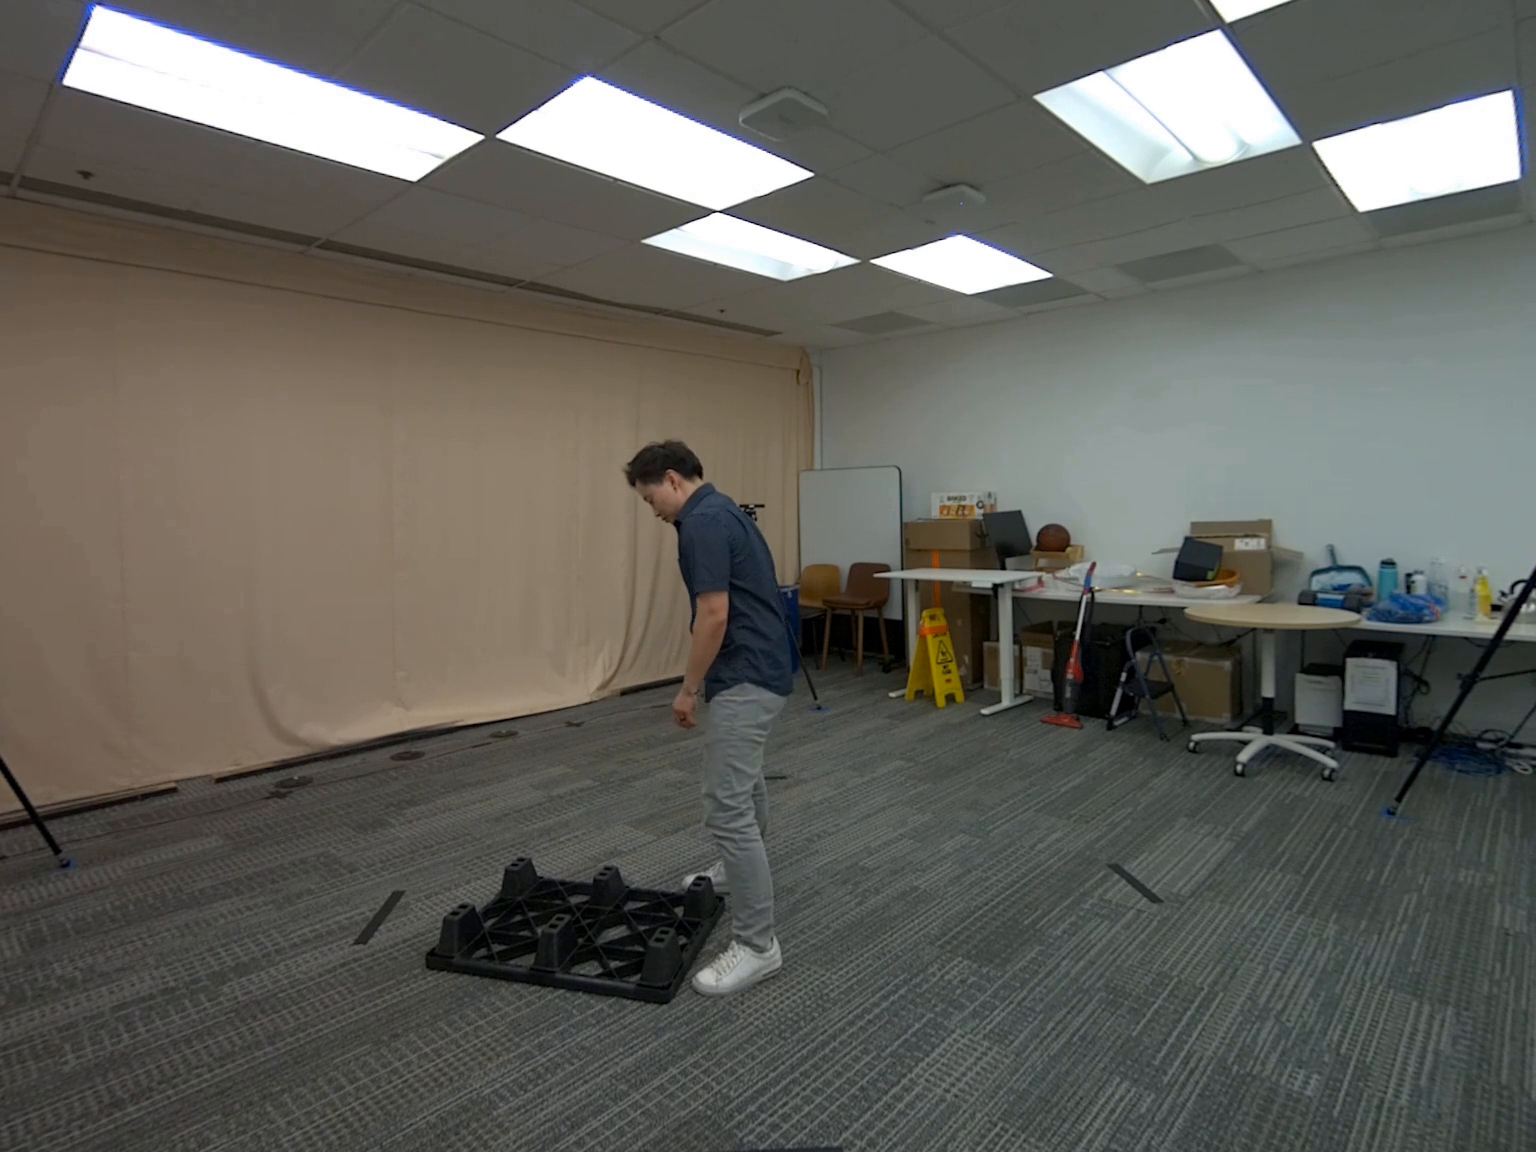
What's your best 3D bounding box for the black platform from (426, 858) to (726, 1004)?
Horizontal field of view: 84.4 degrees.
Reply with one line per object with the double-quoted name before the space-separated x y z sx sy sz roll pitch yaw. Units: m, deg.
"black platform" -0.605 1.111 2.731 0.819 0.143 0.597 0 5 15
